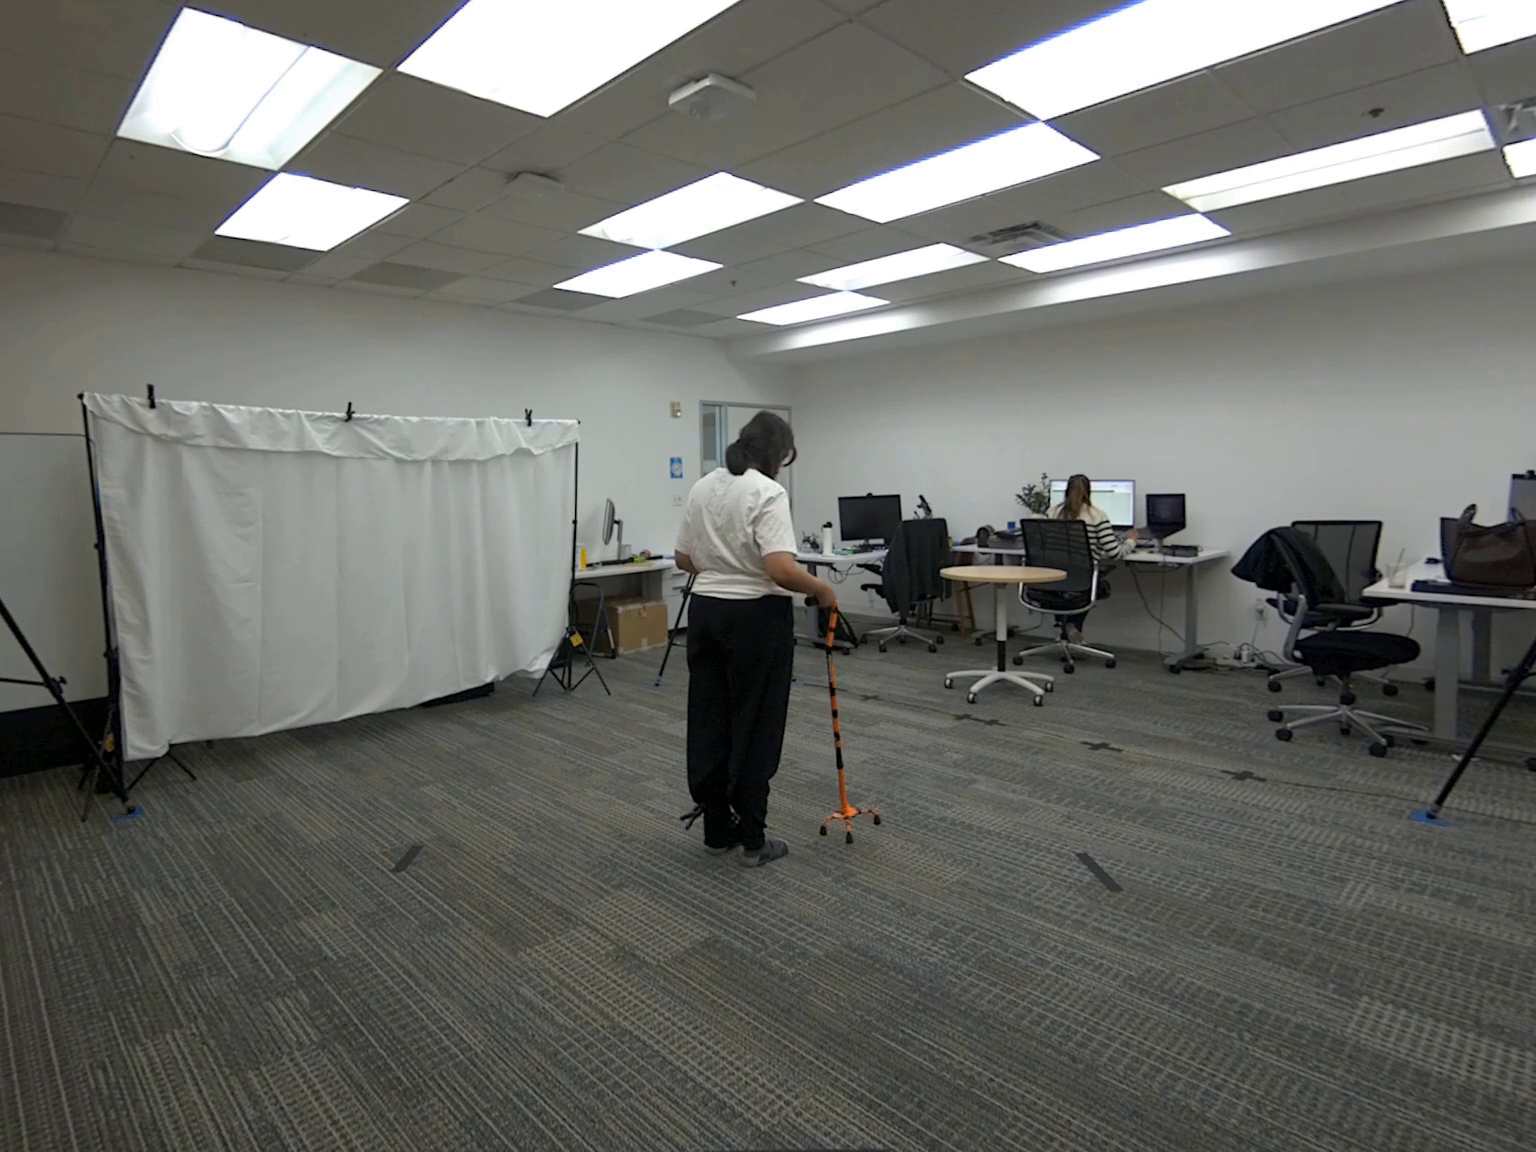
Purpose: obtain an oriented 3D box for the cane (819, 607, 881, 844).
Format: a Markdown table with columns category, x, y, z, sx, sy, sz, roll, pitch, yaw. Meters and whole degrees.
| category | x | y | z | sx | sy | sz | roll | pitch | yaw |
| --- | --- | --- | --- | --- | --- | --- | --- | --- | --- |
| cane | 0.252 | 0.509 | 3.175 | 0.202 | 0.903 | 0.156 | -11 | 7 | -40 |
